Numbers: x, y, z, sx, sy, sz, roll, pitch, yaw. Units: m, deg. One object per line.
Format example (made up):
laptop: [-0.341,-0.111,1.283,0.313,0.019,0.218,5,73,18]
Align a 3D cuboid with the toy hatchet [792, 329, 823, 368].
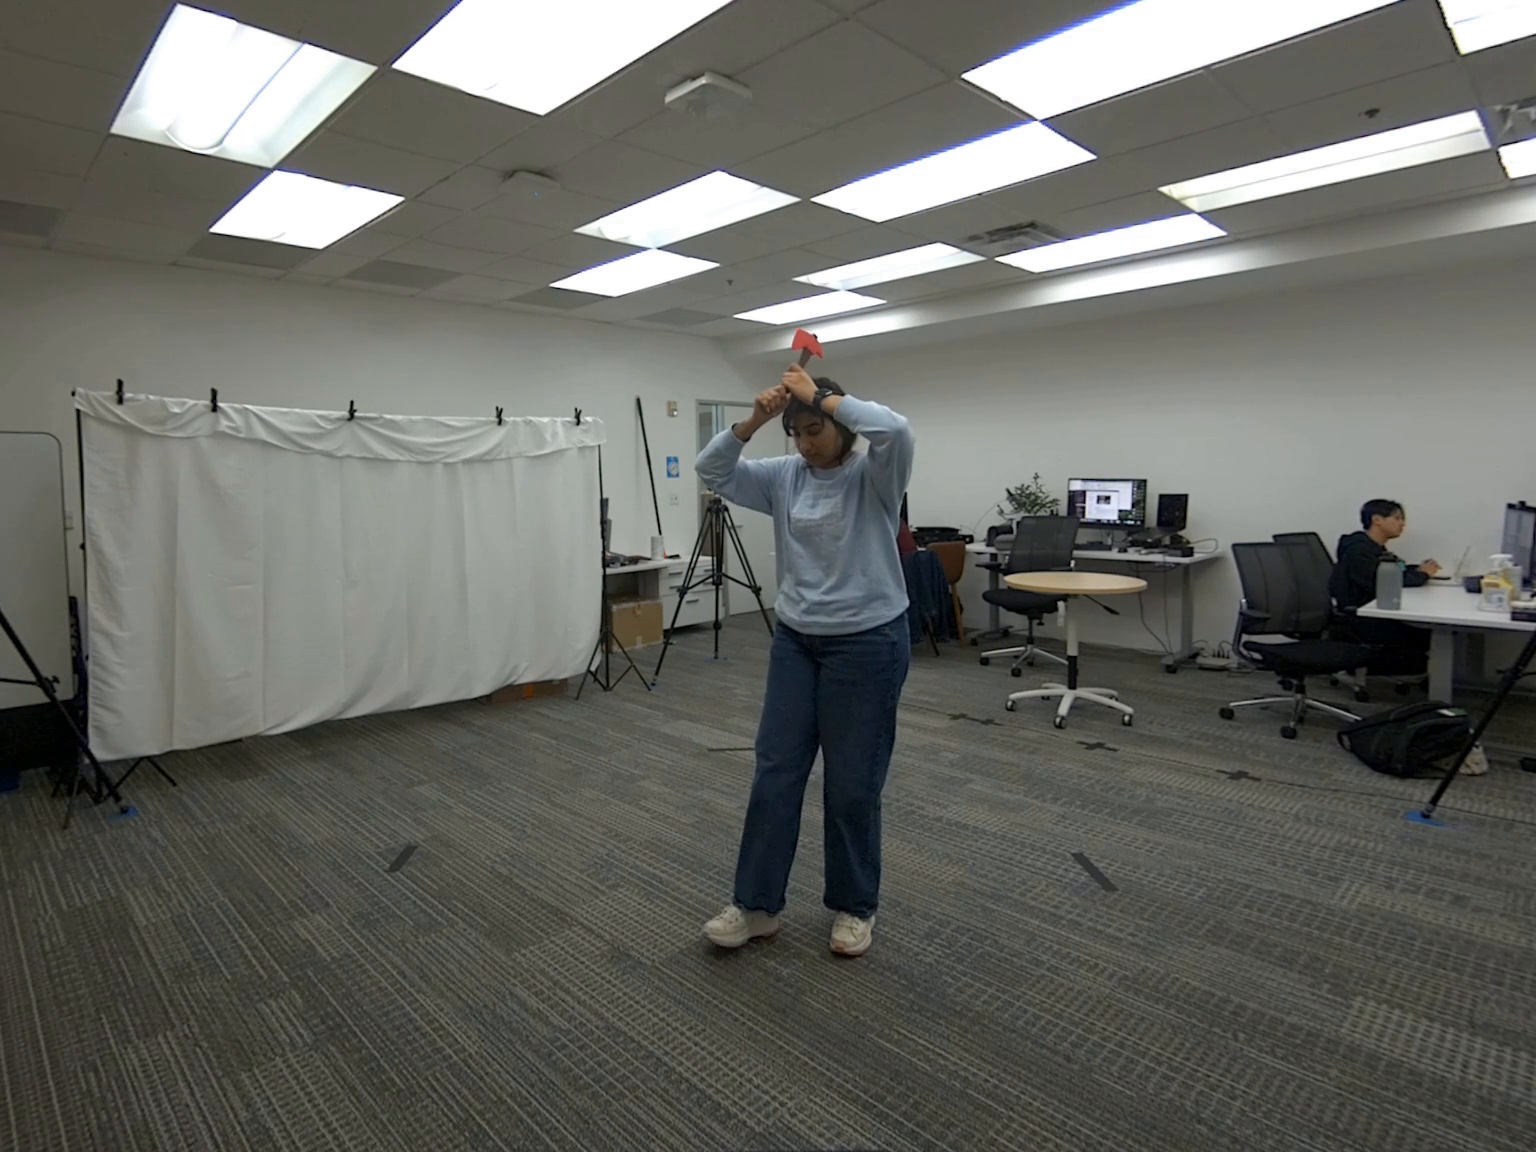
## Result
toy hatchet: [0.062,-0.579,2.358,0.030,0.126,0.271,13,56,41]
